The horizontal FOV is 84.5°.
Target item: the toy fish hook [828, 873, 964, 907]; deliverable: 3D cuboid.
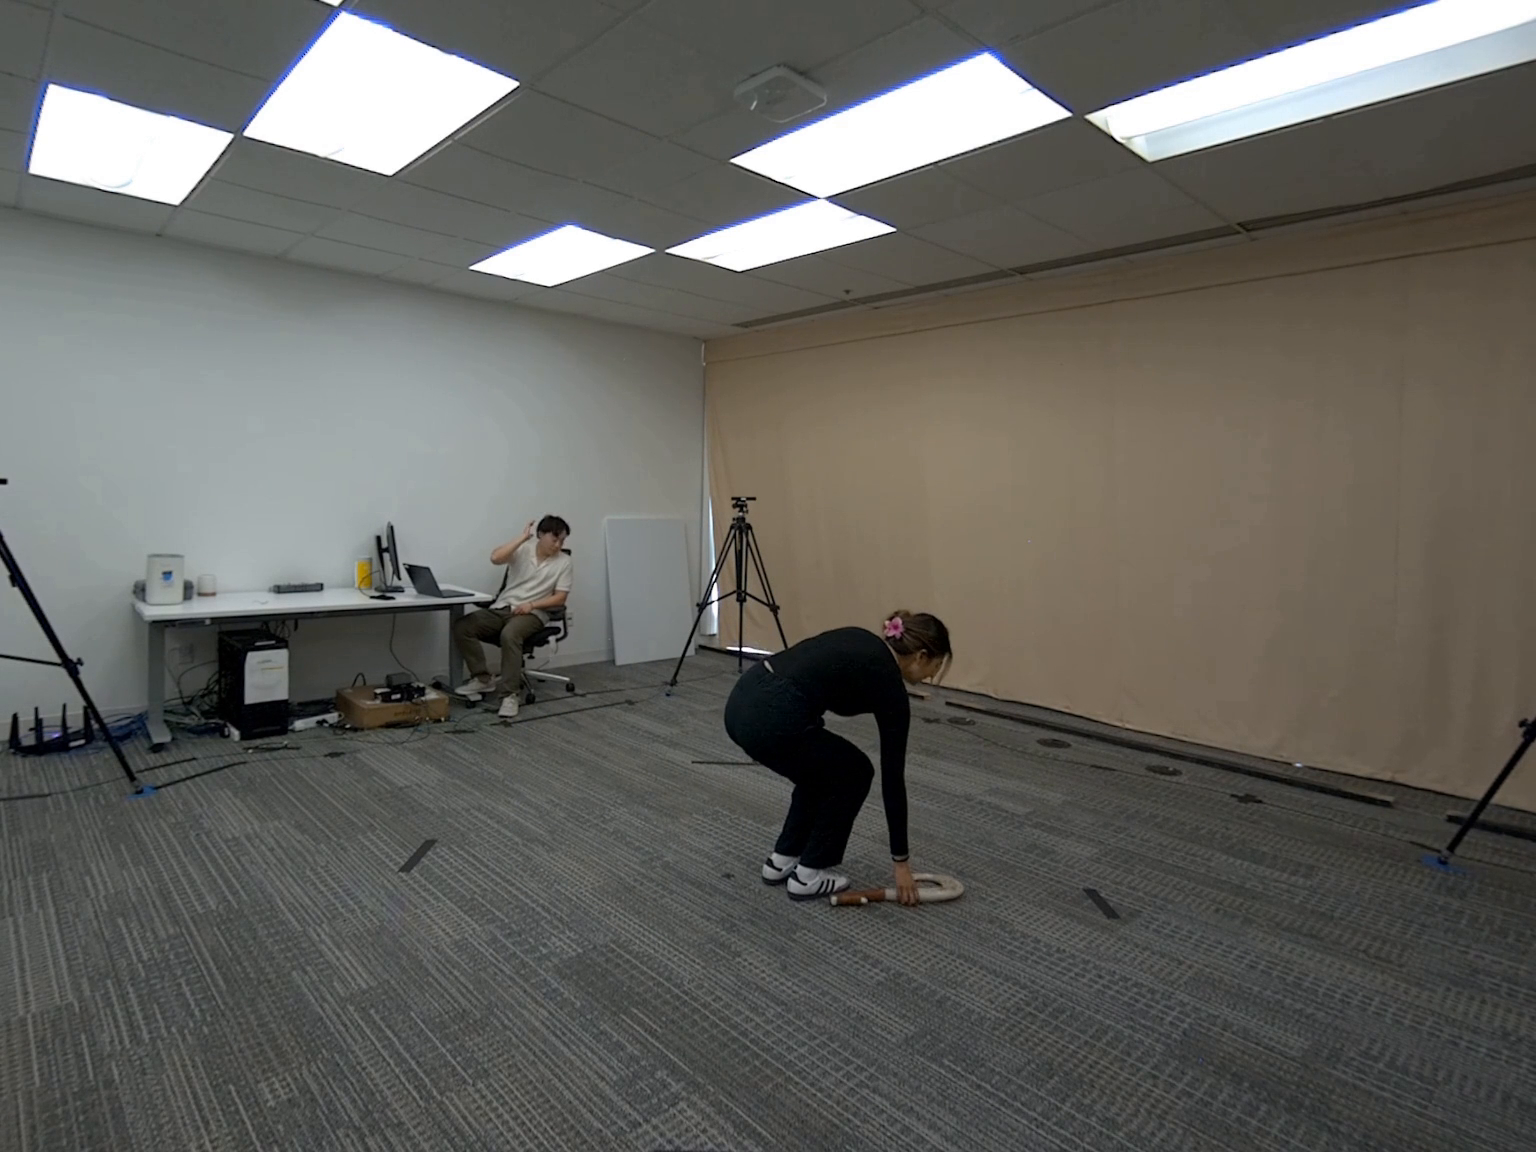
[{"bbox_3d":[0.436,1.097,2.989,0.502,0.048,0.225,0,-6,-12],"label":"toy fish hook"}]
